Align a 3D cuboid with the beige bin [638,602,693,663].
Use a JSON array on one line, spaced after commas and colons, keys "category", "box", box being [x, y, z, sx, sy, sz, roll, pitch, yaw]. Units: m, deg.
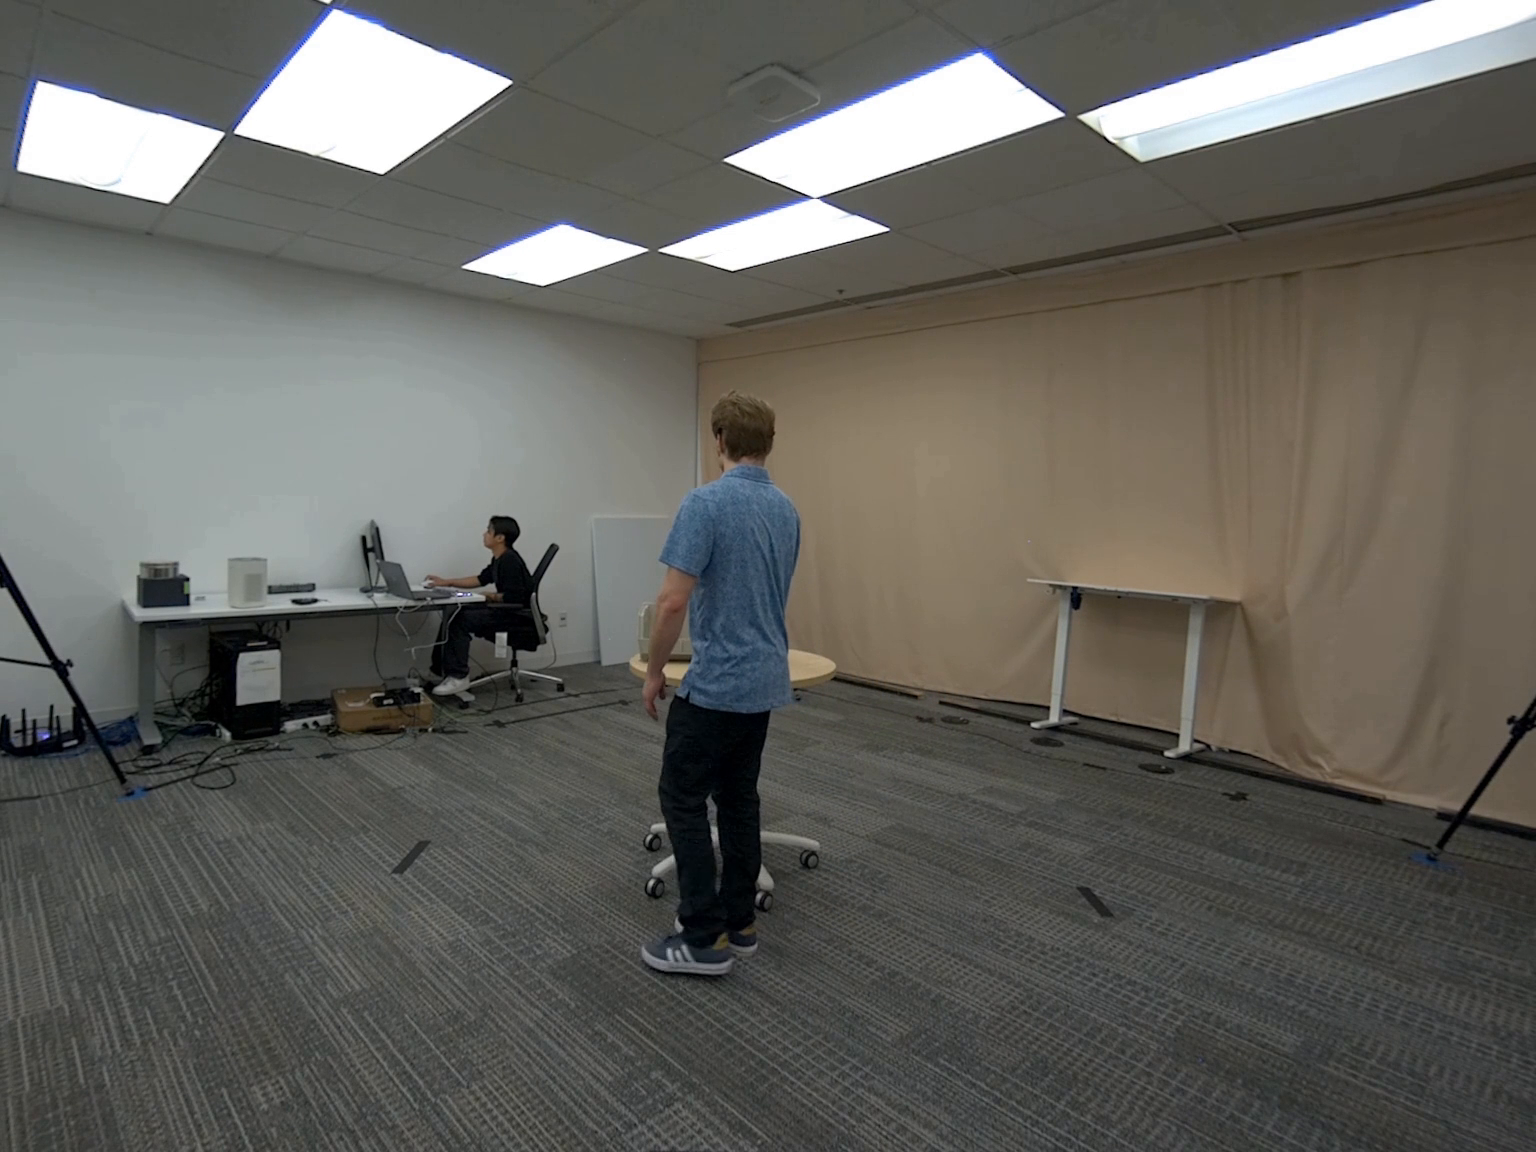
[{"category": "beige bin", "box": [-0.285, 0.213, 3.245, 0.421, 0.189, 0.378, 1, 1, -3]}]
